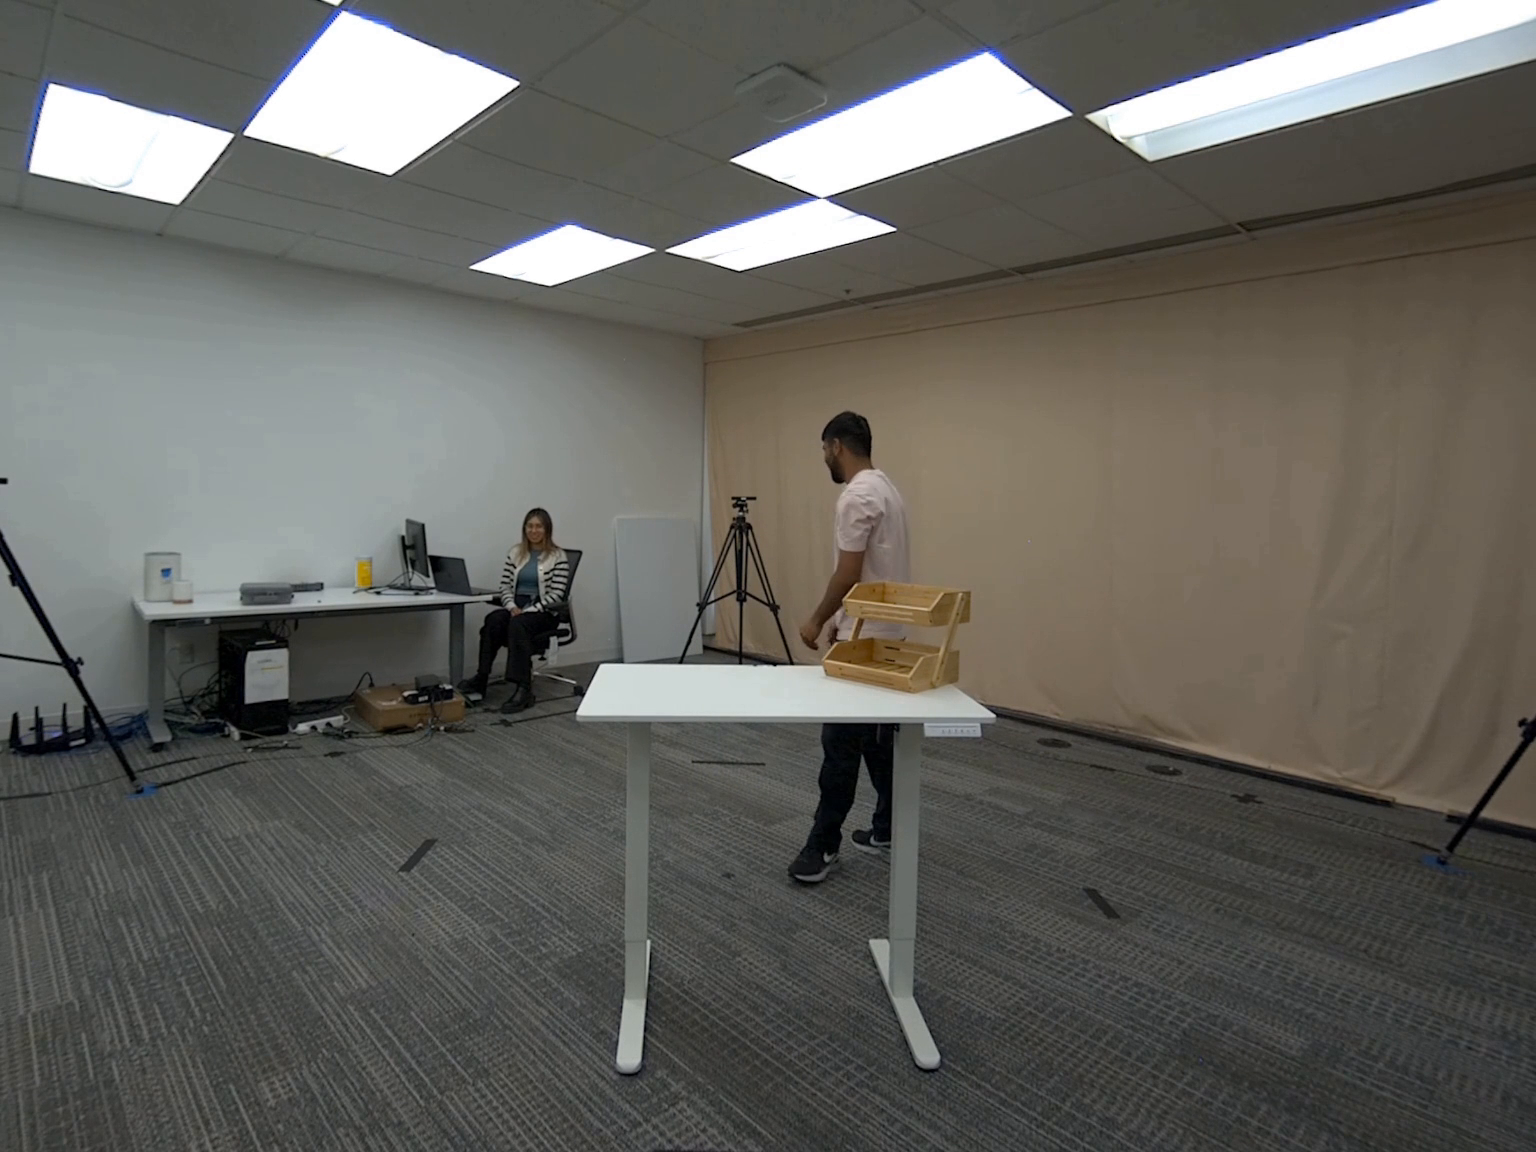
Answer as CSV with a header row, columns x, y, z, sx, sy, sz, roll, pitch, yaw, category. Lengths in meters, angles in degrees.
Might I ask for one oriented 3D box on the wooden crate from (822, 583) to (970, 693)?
x,y,z,sx,sy,sz,roll,pitch,yaw,category
0.362,0.164,2.430,0.333,0.273,0.295,5,5,44,wooden crate
